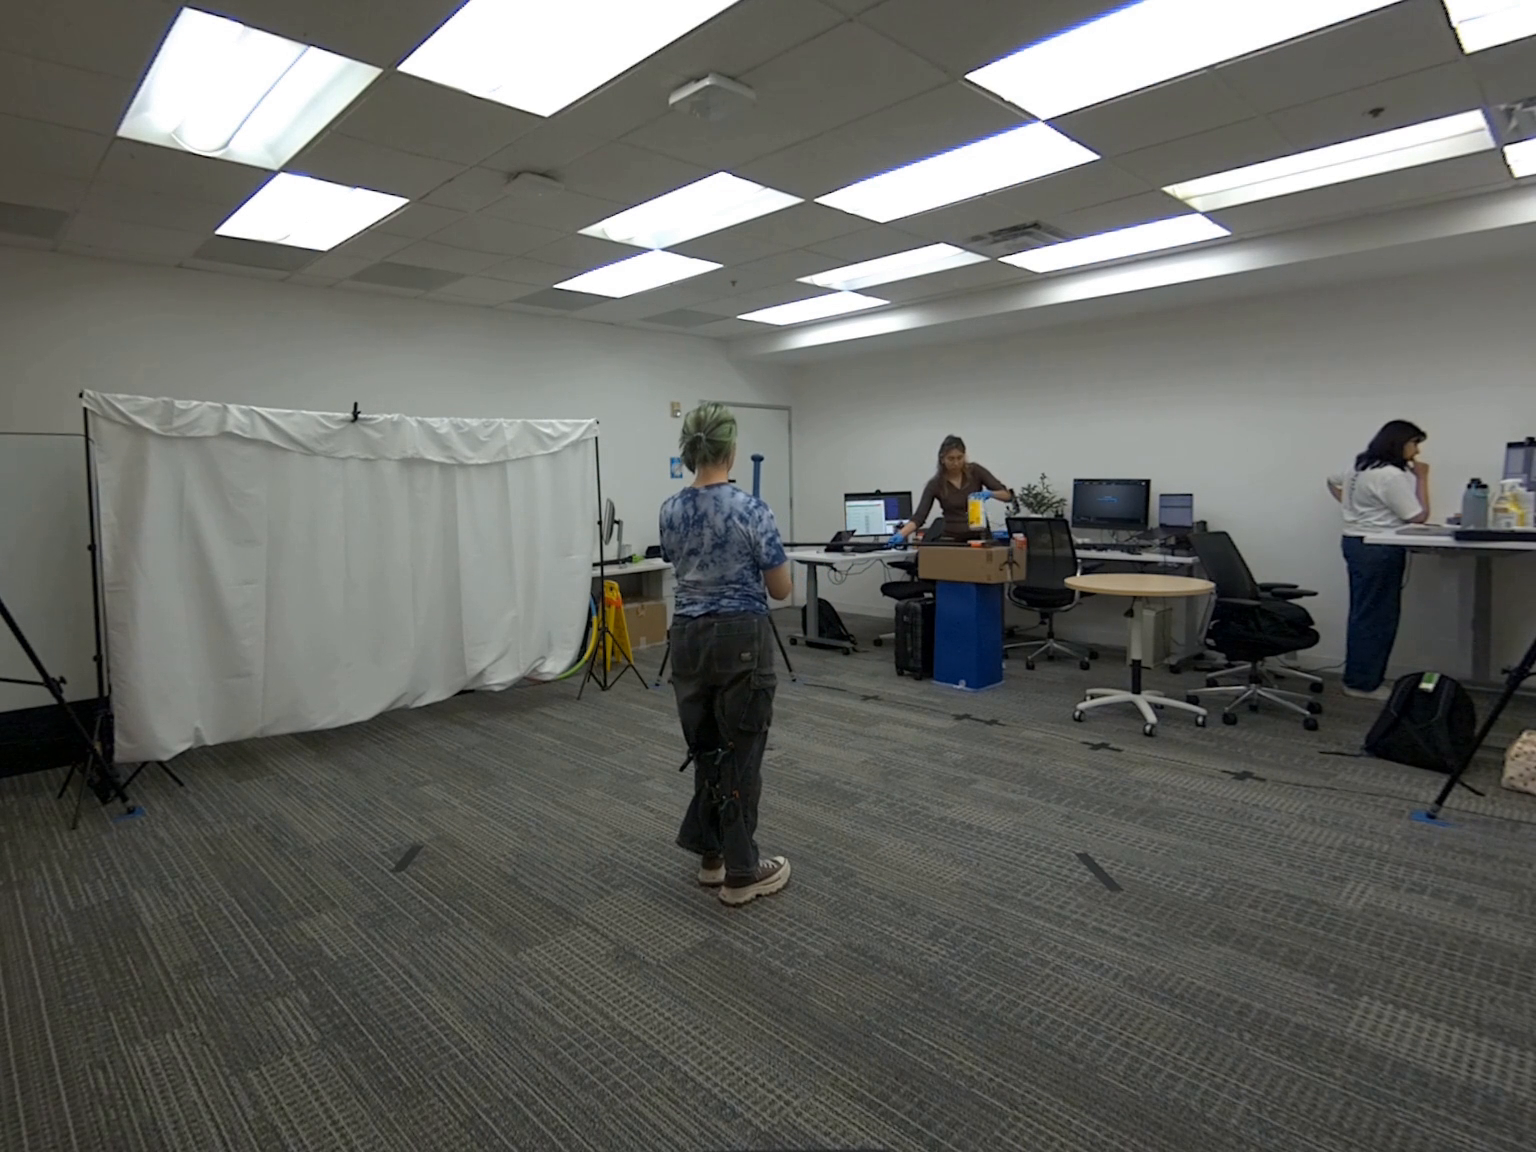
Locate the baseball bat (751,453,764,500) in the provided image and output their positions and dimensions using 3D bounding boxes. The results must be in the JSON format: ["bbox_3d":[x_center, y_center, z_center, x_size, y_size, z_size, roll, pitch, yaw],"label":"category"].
[{"bbox_3d":[-0.052,-0.190,3.177,0.089,0.549,0.088,1,-12,-1],"label":"baseball bat"}]
